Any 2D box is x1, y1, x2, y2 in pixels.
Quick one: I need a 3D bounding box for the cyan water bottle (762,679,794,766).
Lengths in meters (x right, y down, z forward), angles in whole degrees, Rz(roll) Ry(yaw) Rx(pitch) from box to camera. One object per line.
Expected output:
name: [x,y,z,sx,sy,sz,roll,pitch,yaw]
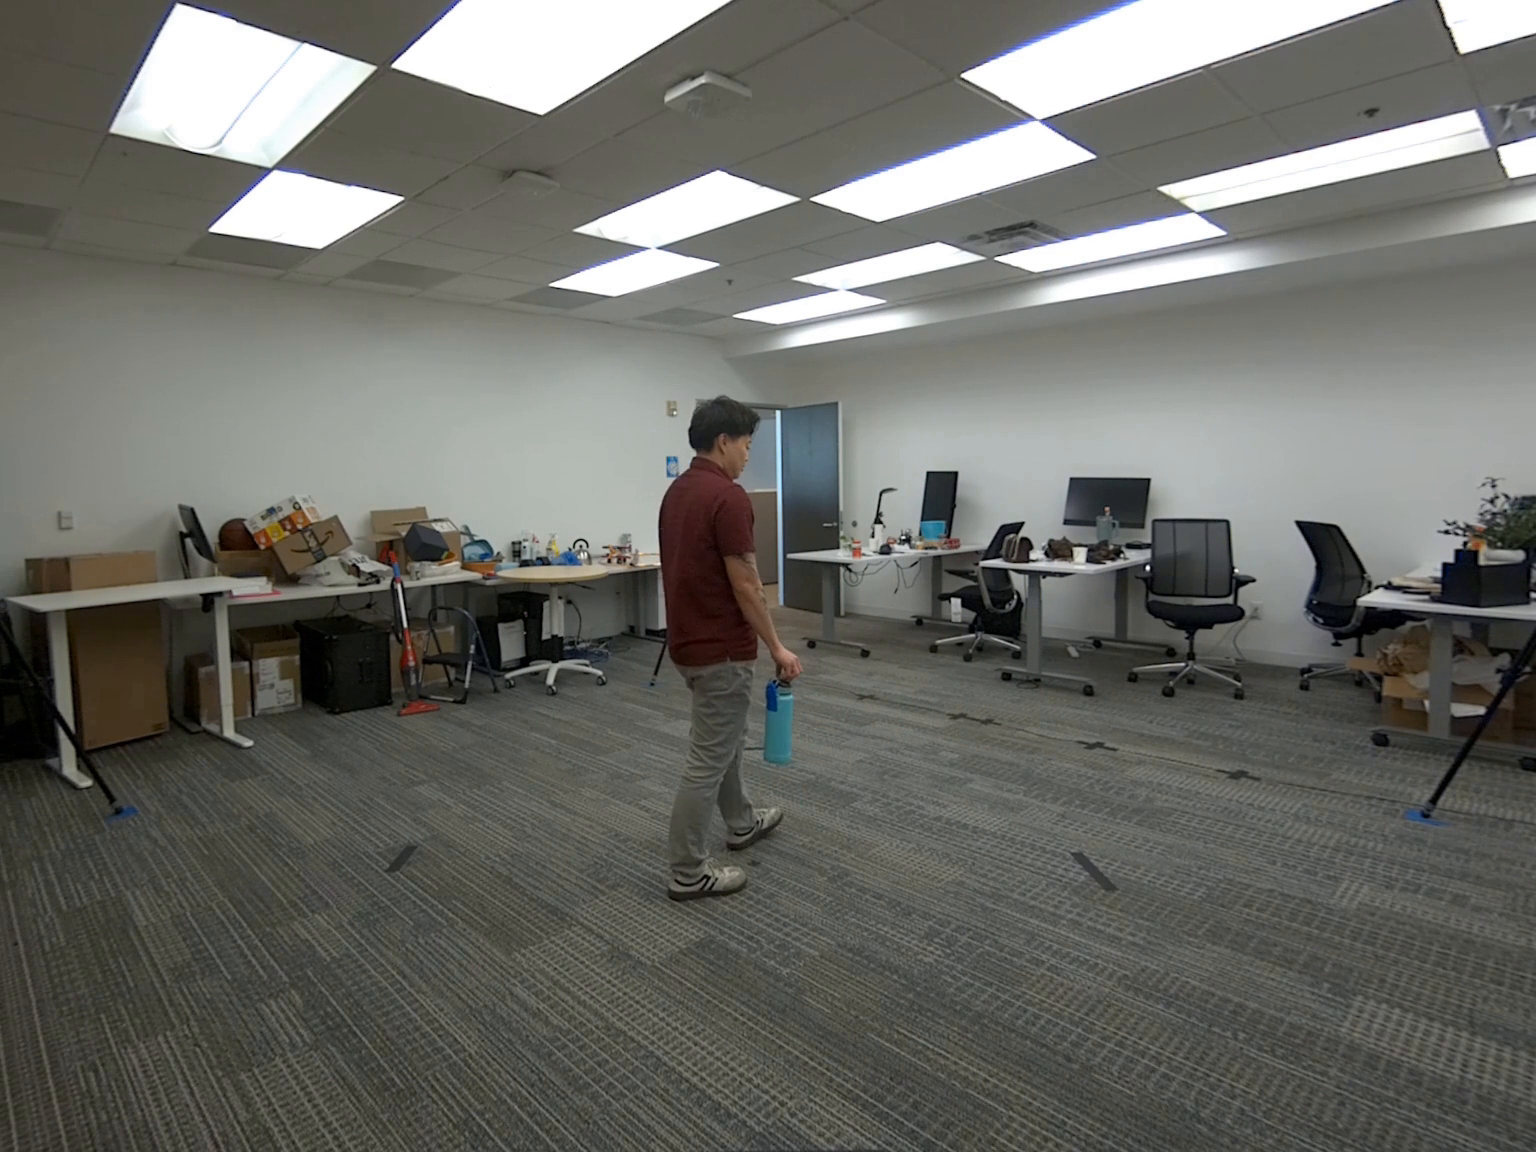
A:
cyan water bottle: [0.036,0.471,2.821,0.092,0.282,0.093,3,5,-2]
